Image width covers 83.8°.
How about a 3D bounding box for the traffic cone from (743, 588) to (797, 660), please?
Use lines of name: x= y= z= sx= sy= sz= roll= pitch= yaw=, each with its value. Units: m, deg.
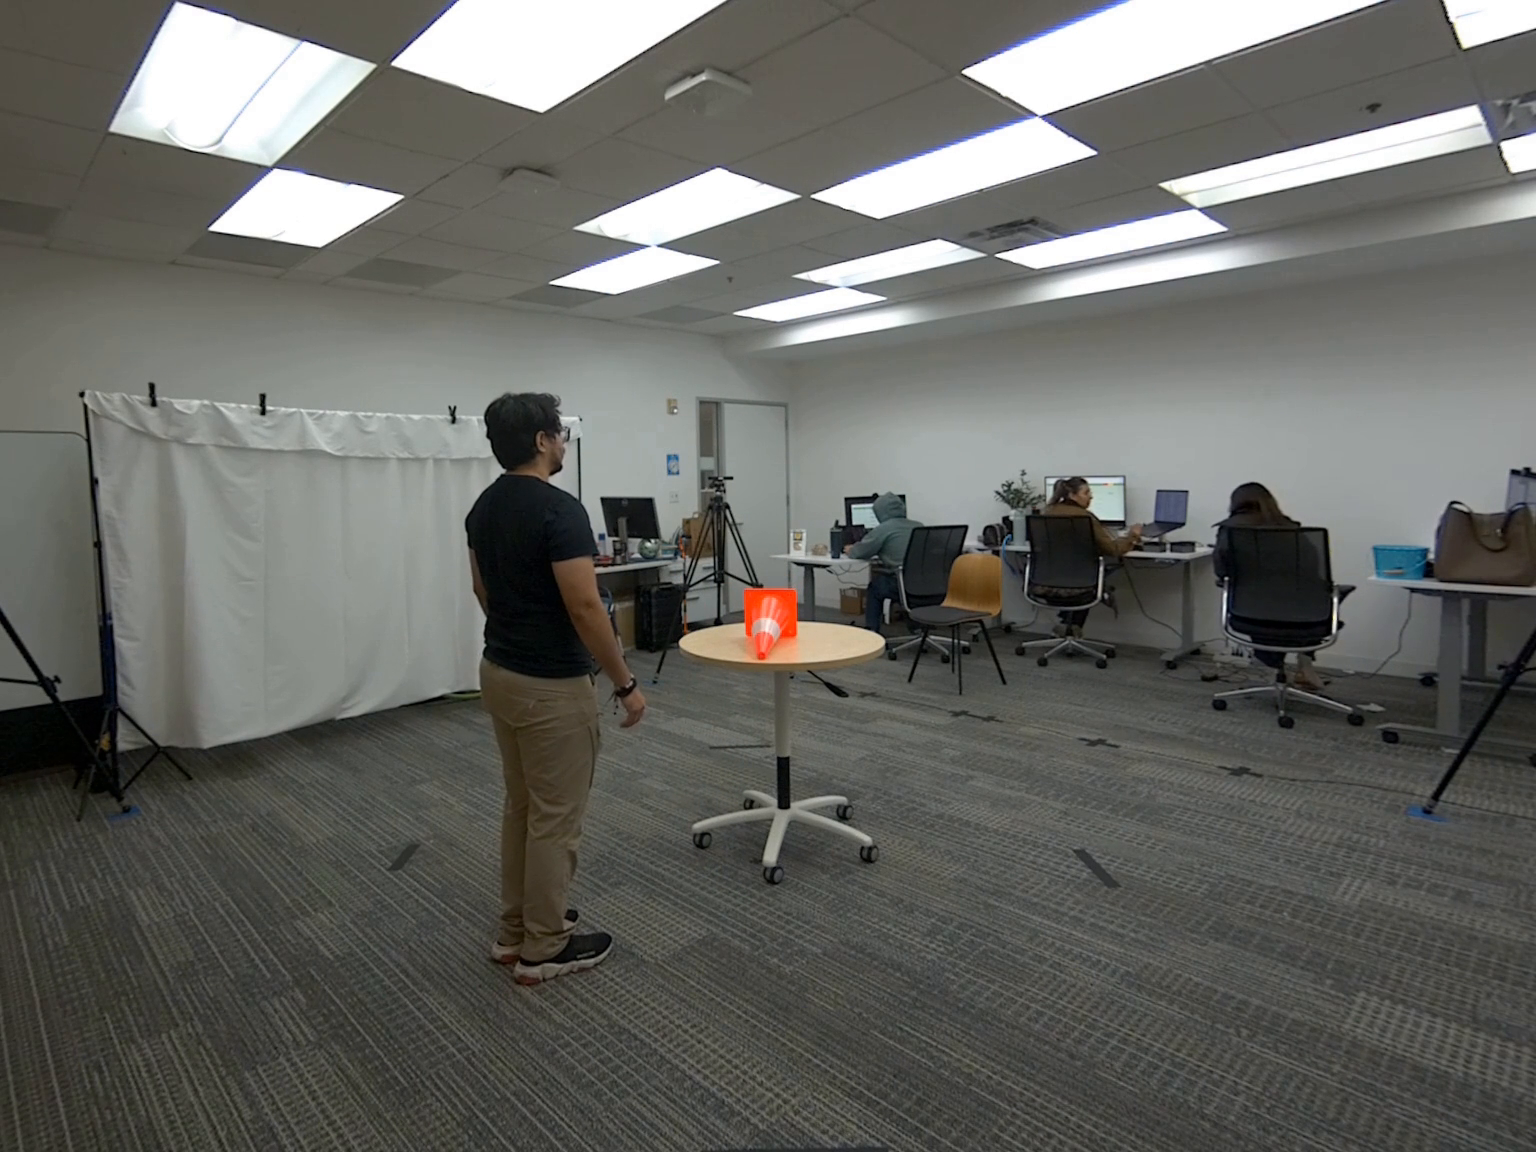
traffic cone: x=0.003 y=0.218 z=3.044 sx=0.205 sy=0.200 sz=0.390 roll=7 pitch=21 yaw=-2
